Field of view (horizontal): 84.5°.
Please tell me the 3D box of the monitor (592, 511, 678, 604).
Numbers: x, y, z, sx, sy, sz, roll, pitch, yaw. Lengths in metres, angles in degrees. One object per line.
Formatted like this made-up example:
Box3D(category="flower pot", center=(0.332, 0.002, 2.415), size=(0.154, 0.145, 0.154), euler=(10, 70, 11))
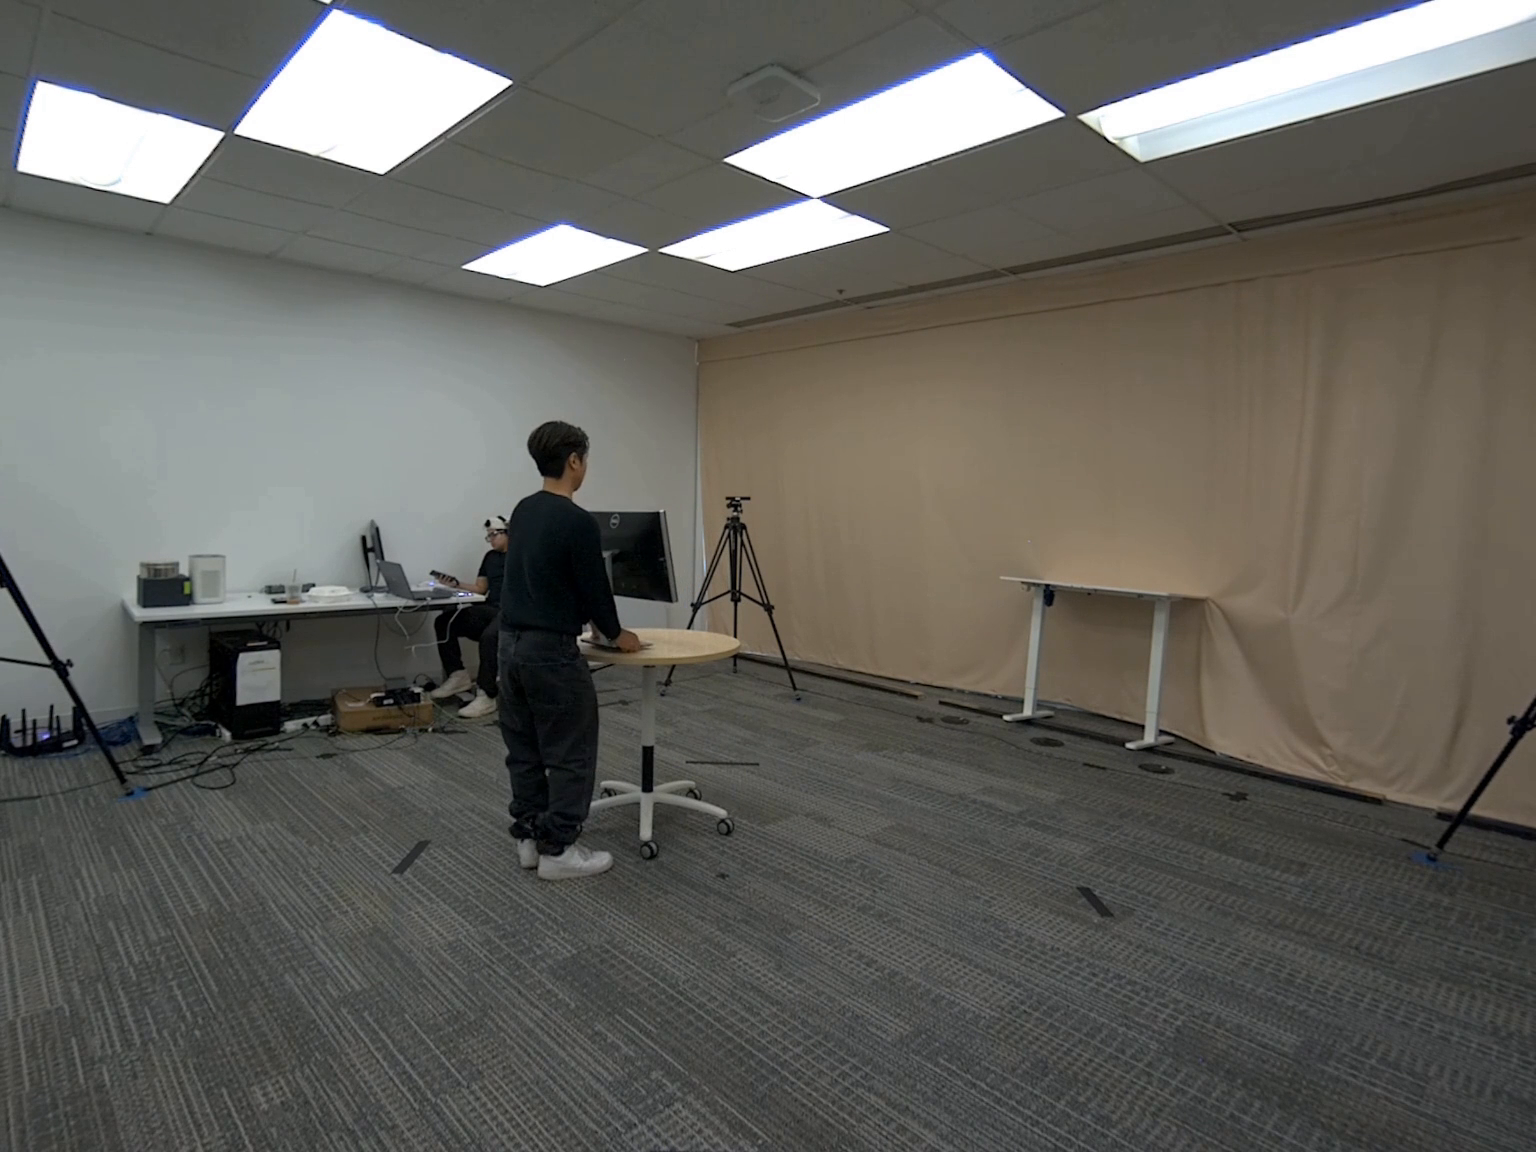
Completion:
Box3D(category="monitor", center=(-0.606, 0.000, 3.389), size=(0.552, 0.522, 0.182), euler=(4, 2, 43))
